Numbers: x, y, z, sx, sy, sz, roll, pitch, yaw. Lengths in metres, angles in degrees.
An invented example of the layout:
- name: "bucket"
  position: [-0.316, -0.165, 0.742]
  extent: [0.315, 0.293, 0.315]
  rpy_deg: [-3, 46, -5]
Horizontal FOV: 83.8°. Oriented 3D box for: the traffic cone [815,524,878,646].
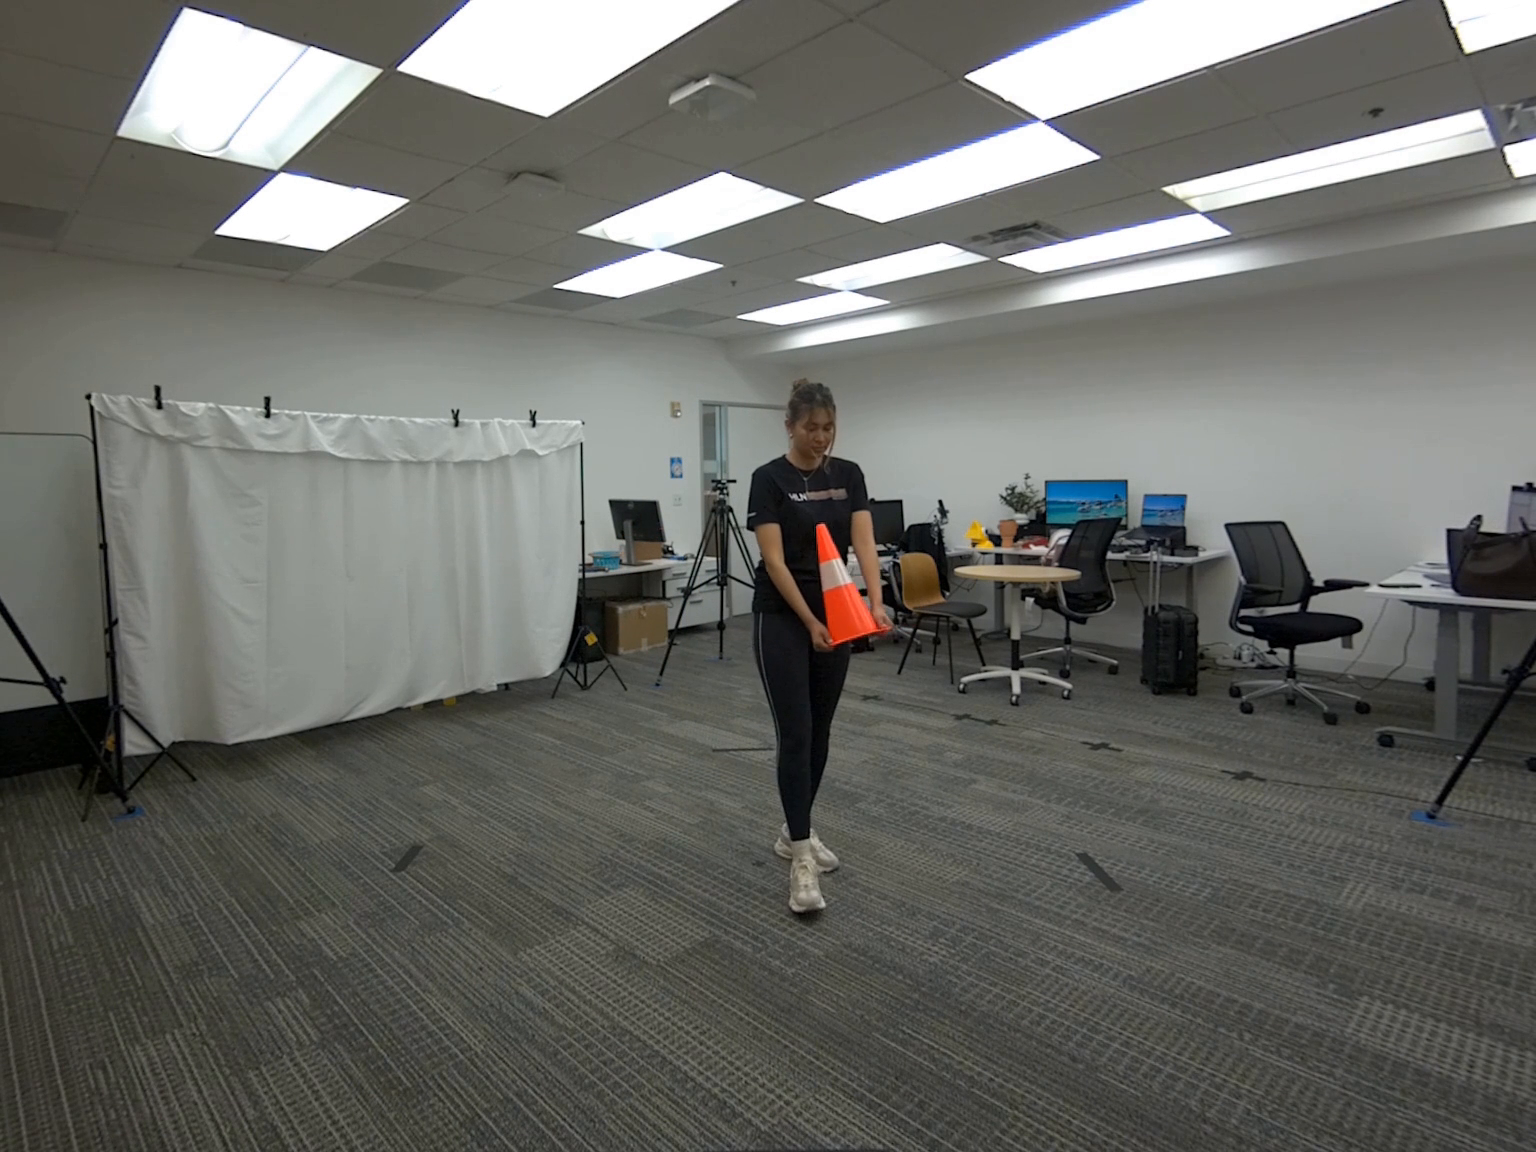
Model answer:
- name: "traffic cone"
  position: [0.226, 0.020, 2.750]
  extent: [0.204, 0.388, 0.202]
  rpy_deg: [-12, -9, -5]
